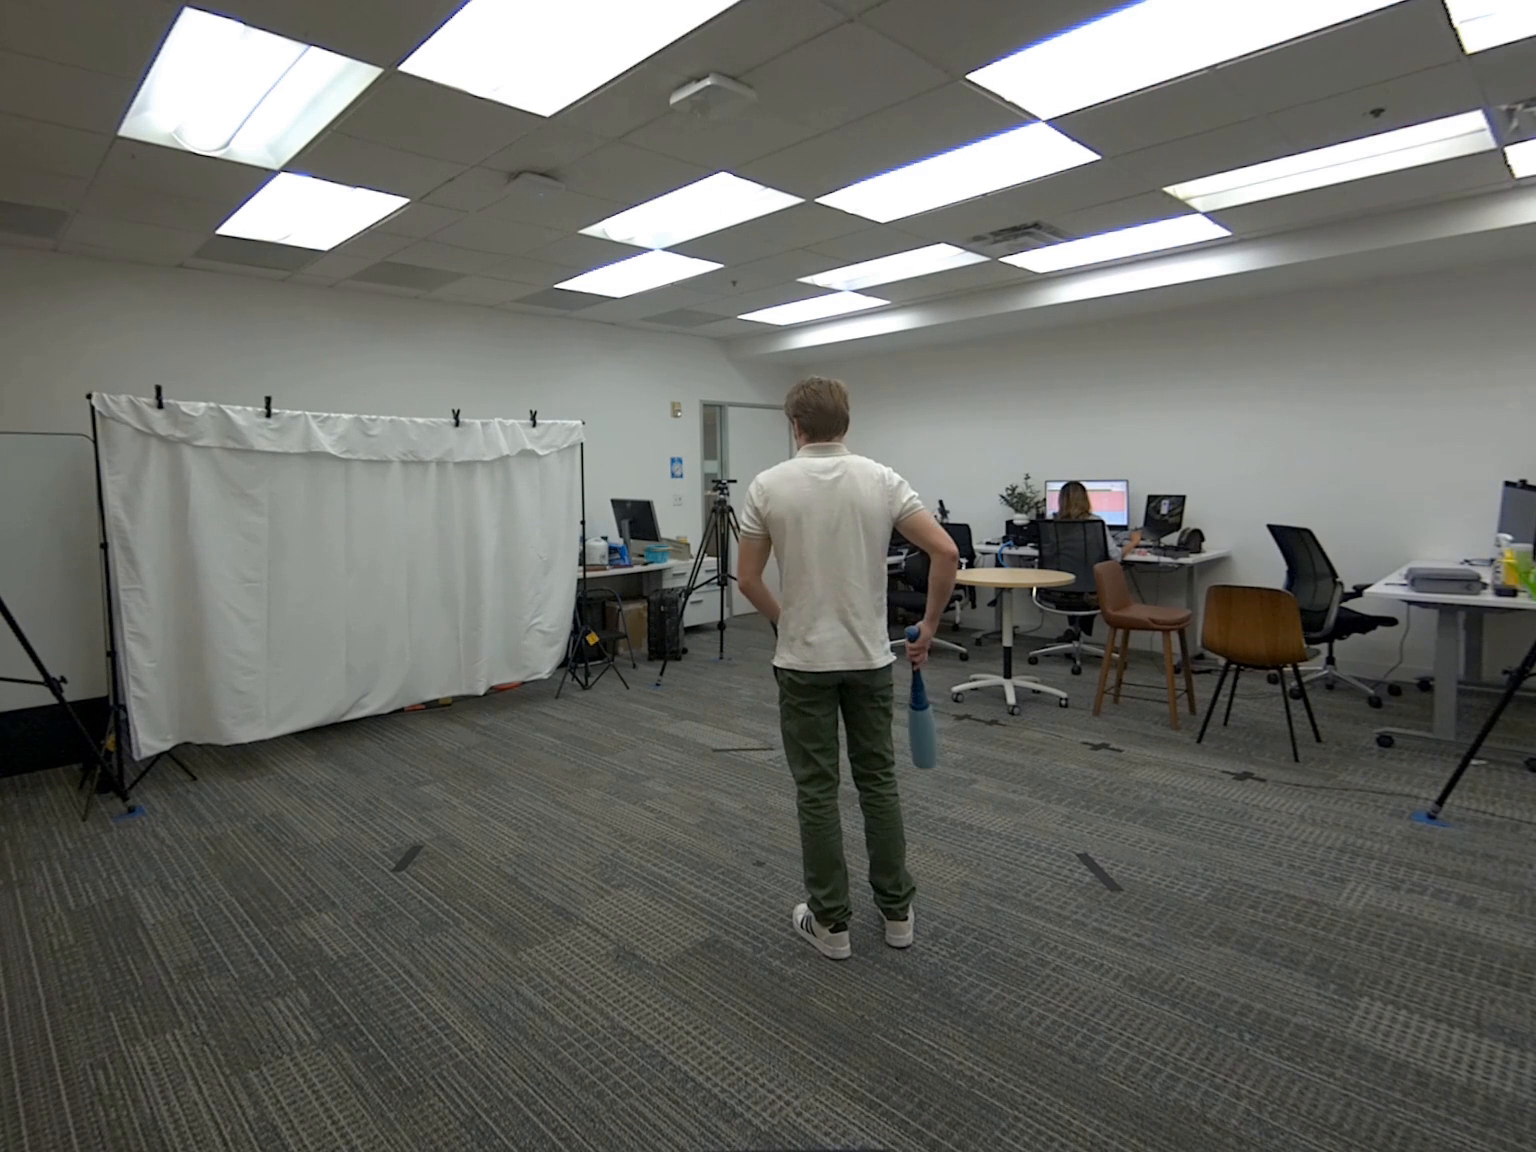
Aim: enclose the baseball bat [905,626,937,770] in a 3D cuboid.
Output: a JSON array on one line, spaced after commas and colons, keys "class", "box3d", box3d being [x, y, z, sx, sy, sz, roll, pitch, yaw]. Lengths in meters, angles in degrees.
[{"class": "baseball bat", "box3d": [0.477, 0.384, 2.731, 0.089, 0.529, 0.091, -7, 29, 2]}]
